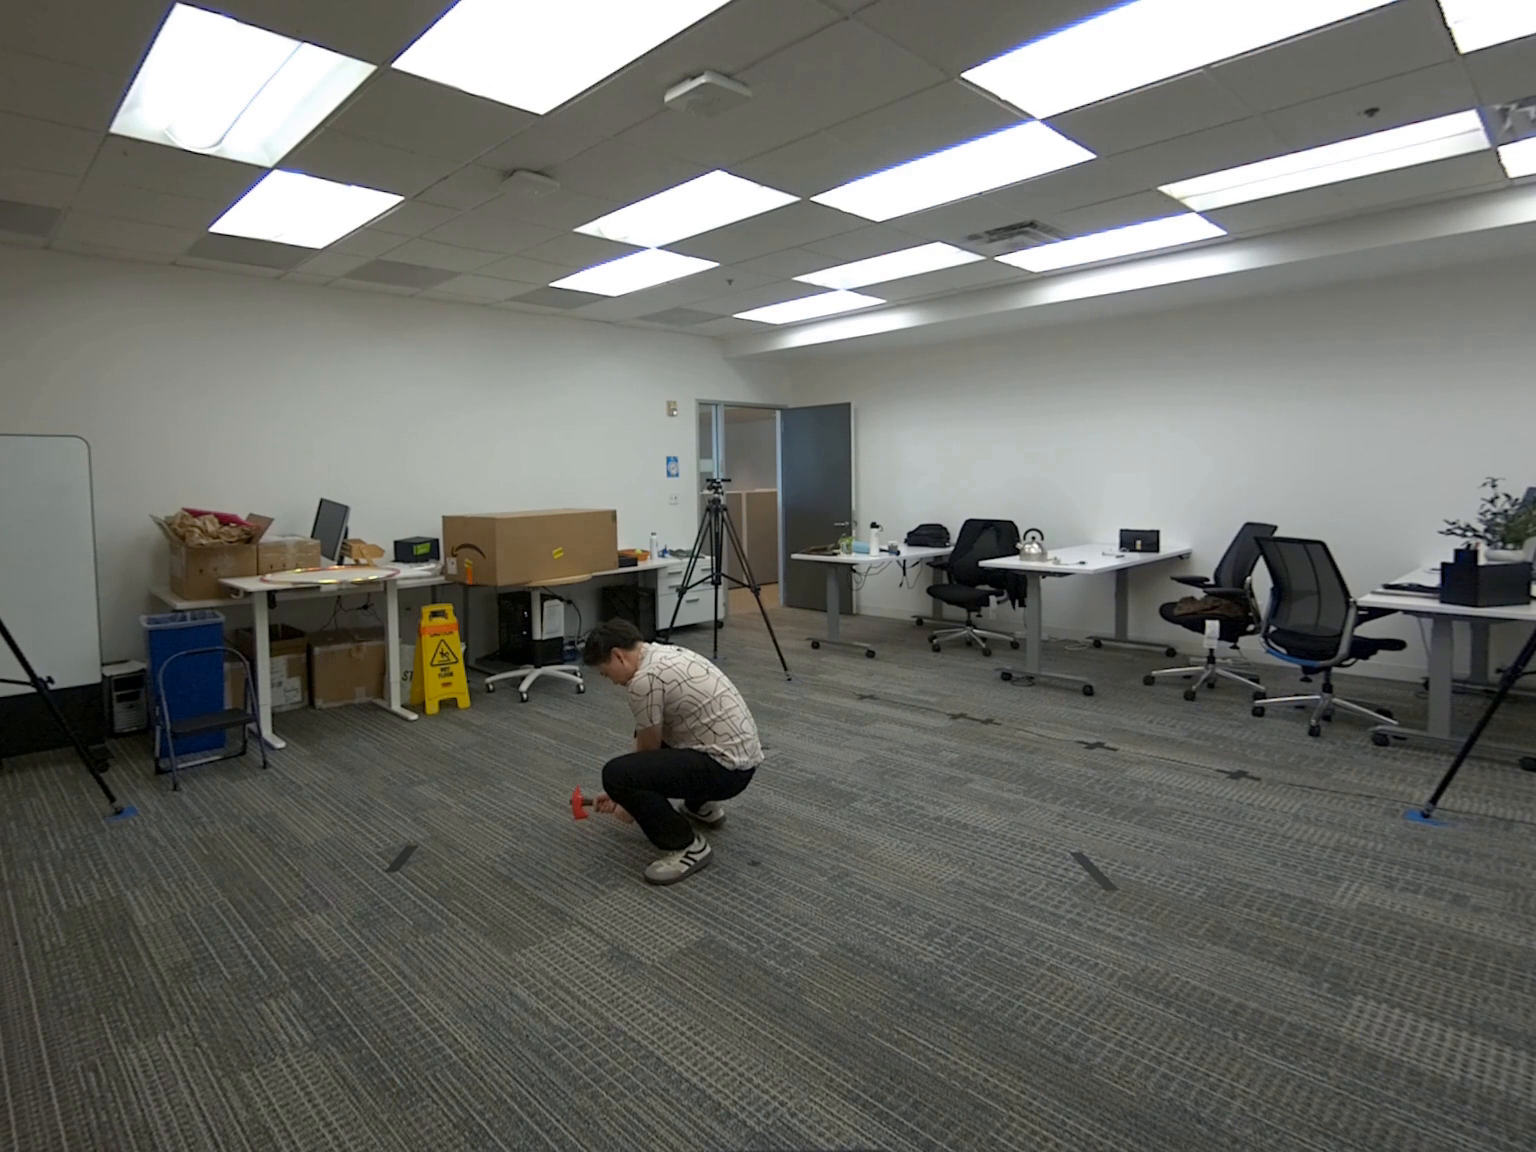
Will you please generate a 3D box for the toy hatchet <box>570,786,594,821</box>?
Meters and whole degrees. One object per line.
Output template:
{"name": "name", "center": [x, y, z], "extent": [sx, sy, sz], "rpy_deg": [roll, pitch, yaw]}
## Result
{"name": "toy hatchet", "center": [-0.651, 0.925, 3.336], "extent": [0.276, 0.131, 0.029], "rpy_deg": [23, 5, 18]}
